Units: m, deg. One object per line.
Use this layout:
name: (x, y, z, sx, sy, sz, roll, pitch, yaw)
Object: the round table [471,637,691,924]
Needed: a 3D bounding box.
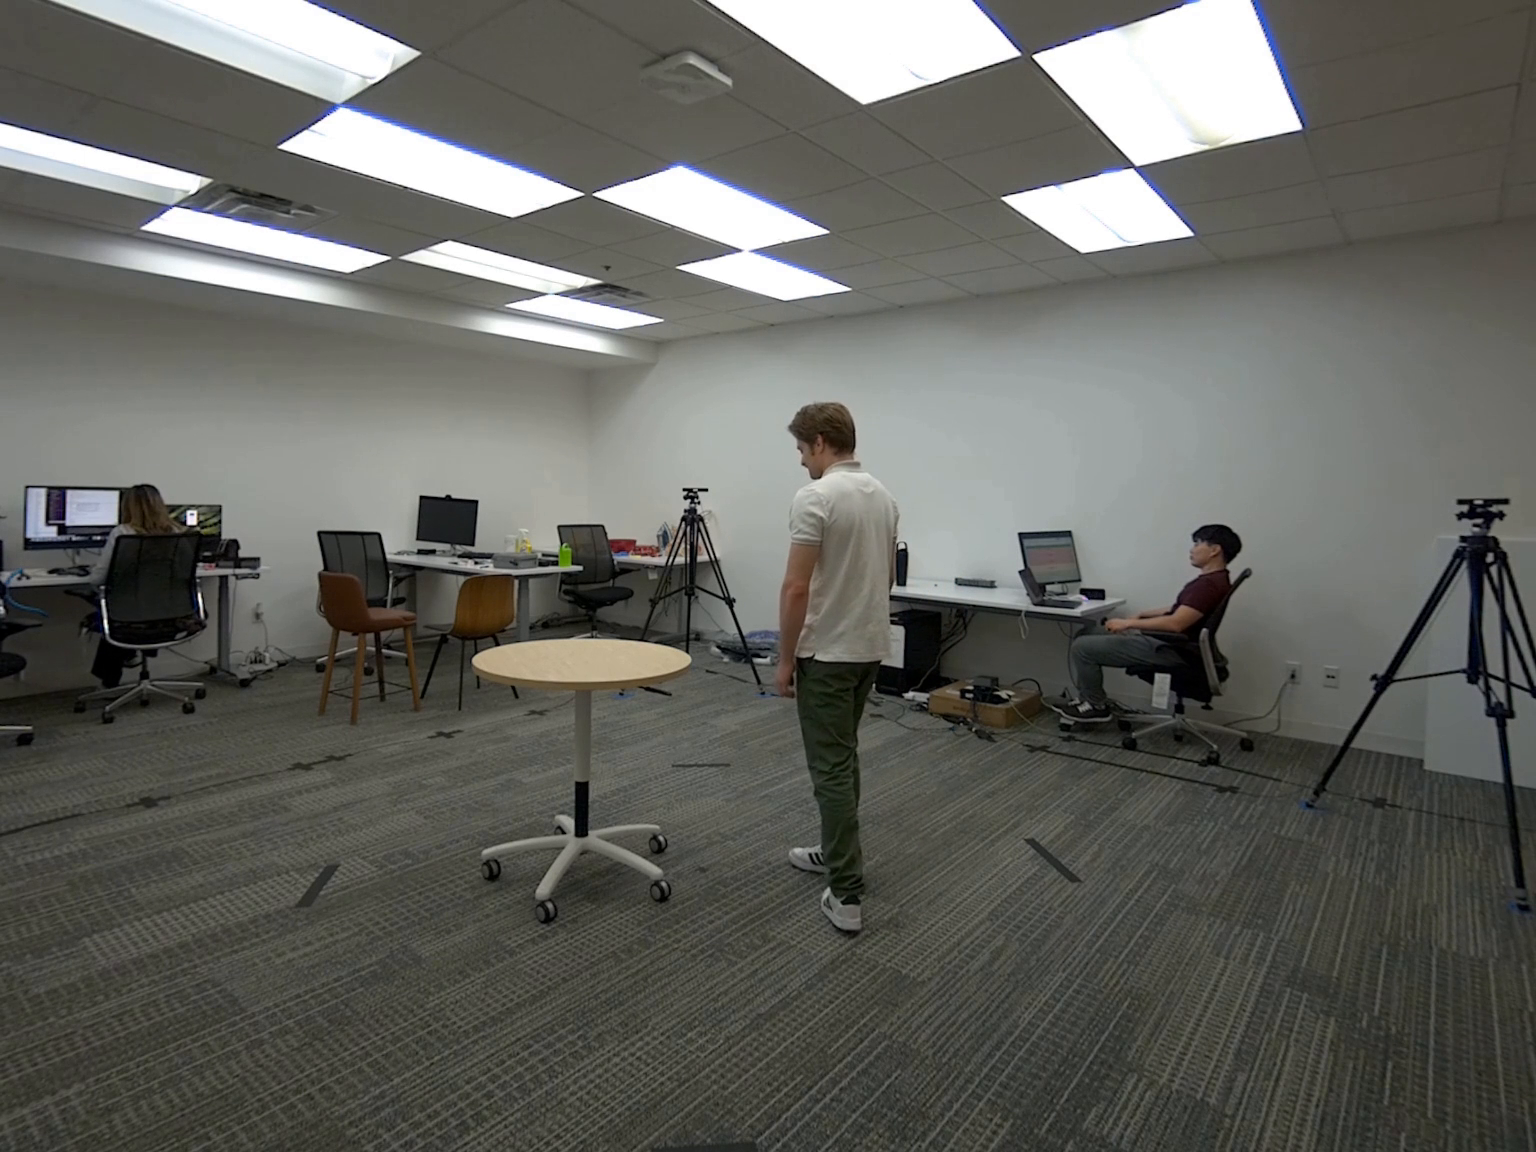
round table: (-0.667, 0.681, 3.043, 0.763, 0.792, 0.767, 1, 4, -2)
